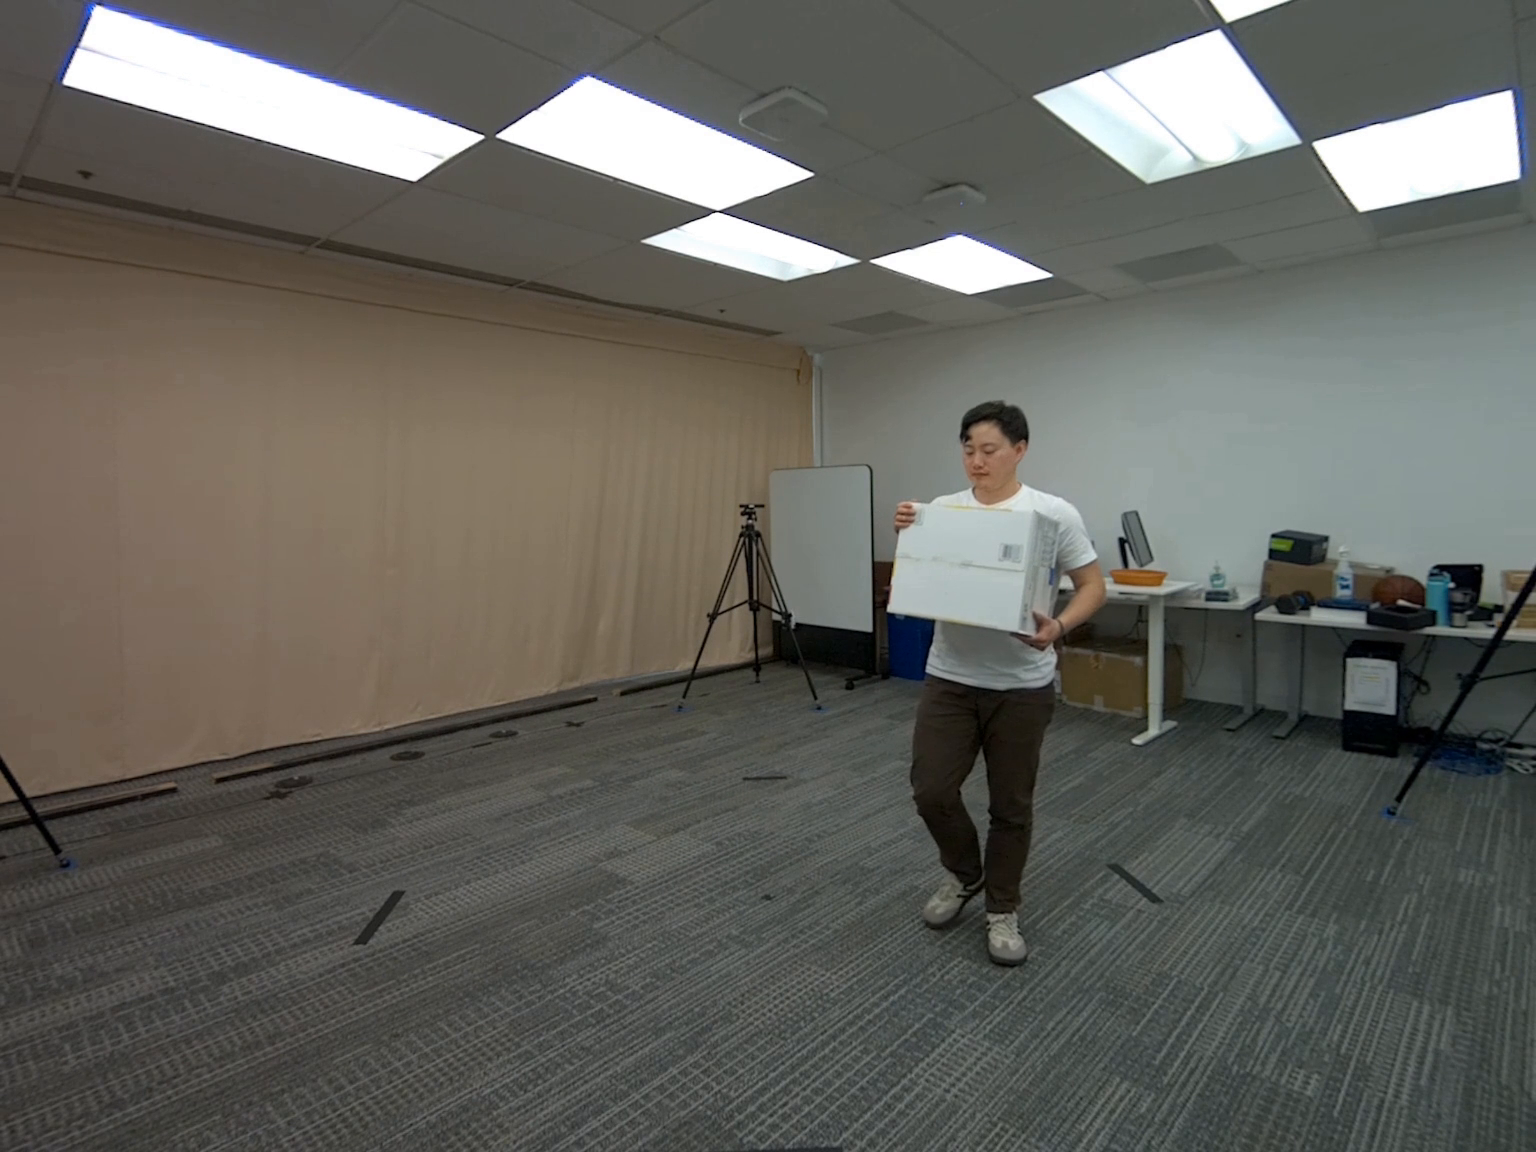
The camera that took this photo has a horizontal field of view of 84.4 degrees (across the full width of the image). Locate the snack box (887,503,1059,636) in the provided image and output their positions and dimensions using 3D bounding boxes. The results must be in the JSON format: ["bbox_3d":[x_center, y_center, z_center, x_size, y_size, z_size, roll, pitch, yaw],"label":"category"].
[{"bbox_3d":[0.598,-0.019,2.475,0.419,0.341,0.198,6,-3,40],"label":"snack box"}]
